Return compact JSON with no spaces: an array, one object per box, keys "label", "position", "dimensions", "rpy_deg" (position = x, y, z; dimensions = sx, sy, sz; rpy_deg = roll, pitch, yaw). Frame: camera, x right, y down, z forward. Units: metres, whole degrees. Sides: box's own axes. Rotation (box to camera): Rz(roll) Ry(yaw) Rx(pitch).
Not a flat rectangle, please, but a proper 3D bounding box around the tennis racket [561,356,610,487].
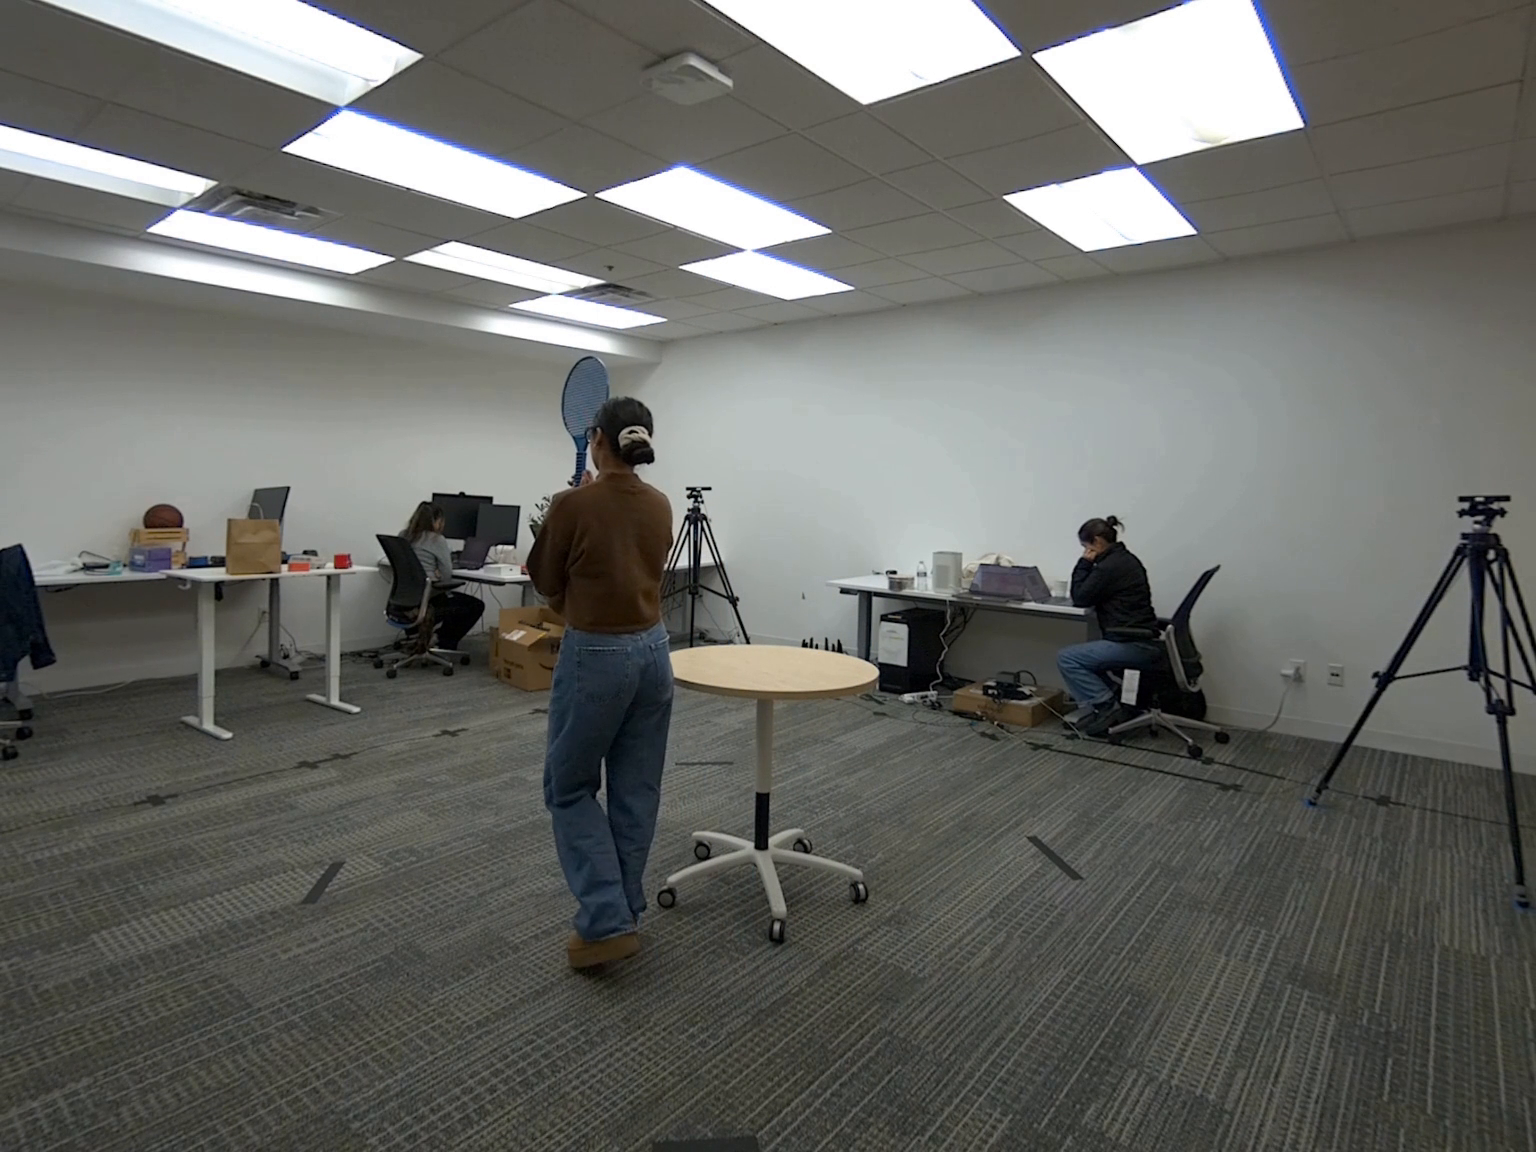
[{"label":"tennis racket","position":[-0.591,-0.485,2.681],"dimensions":[0.220,0.436,0.030],"rpy_deg":[-5,-10,37]}]
